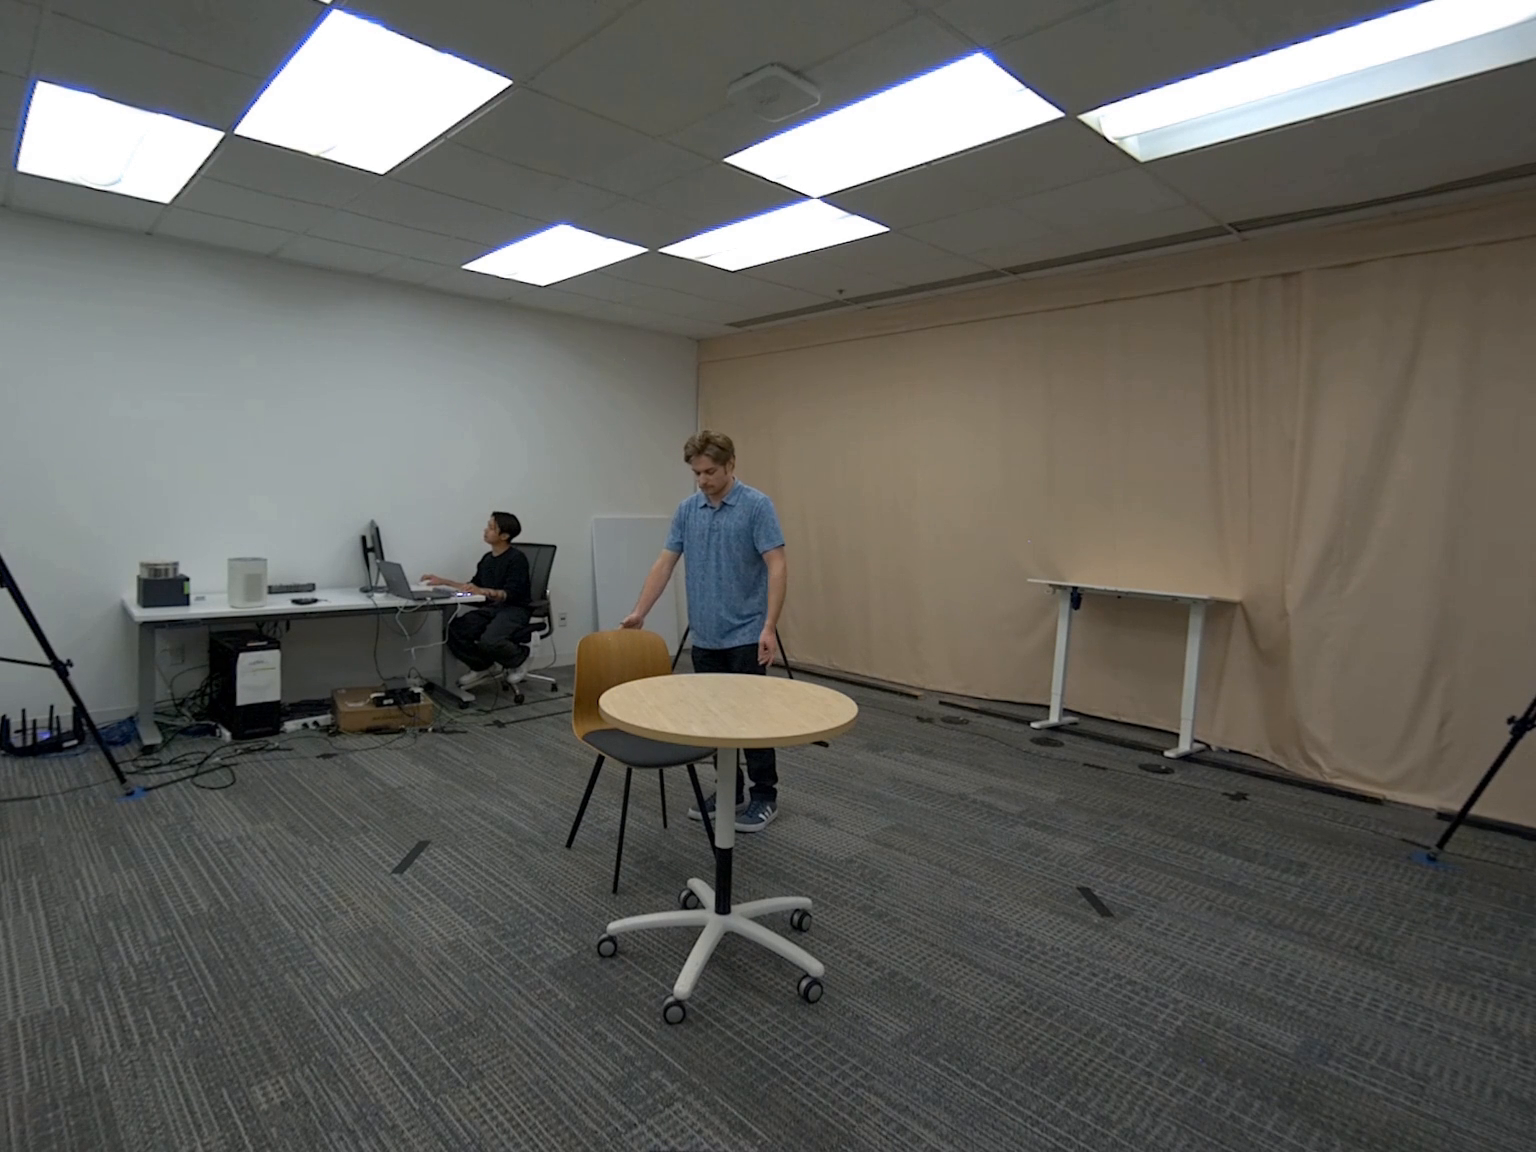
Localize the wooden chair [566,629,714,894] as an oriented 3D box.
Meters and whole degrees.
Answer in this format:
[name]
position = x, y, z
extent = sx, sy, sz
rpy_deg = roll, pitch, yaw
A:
[wooden chair]
position = -0.473, 0.663, 3.215
extent = 0.468, 0.878, 0.534
rpy_deg = 0, -1, -34
